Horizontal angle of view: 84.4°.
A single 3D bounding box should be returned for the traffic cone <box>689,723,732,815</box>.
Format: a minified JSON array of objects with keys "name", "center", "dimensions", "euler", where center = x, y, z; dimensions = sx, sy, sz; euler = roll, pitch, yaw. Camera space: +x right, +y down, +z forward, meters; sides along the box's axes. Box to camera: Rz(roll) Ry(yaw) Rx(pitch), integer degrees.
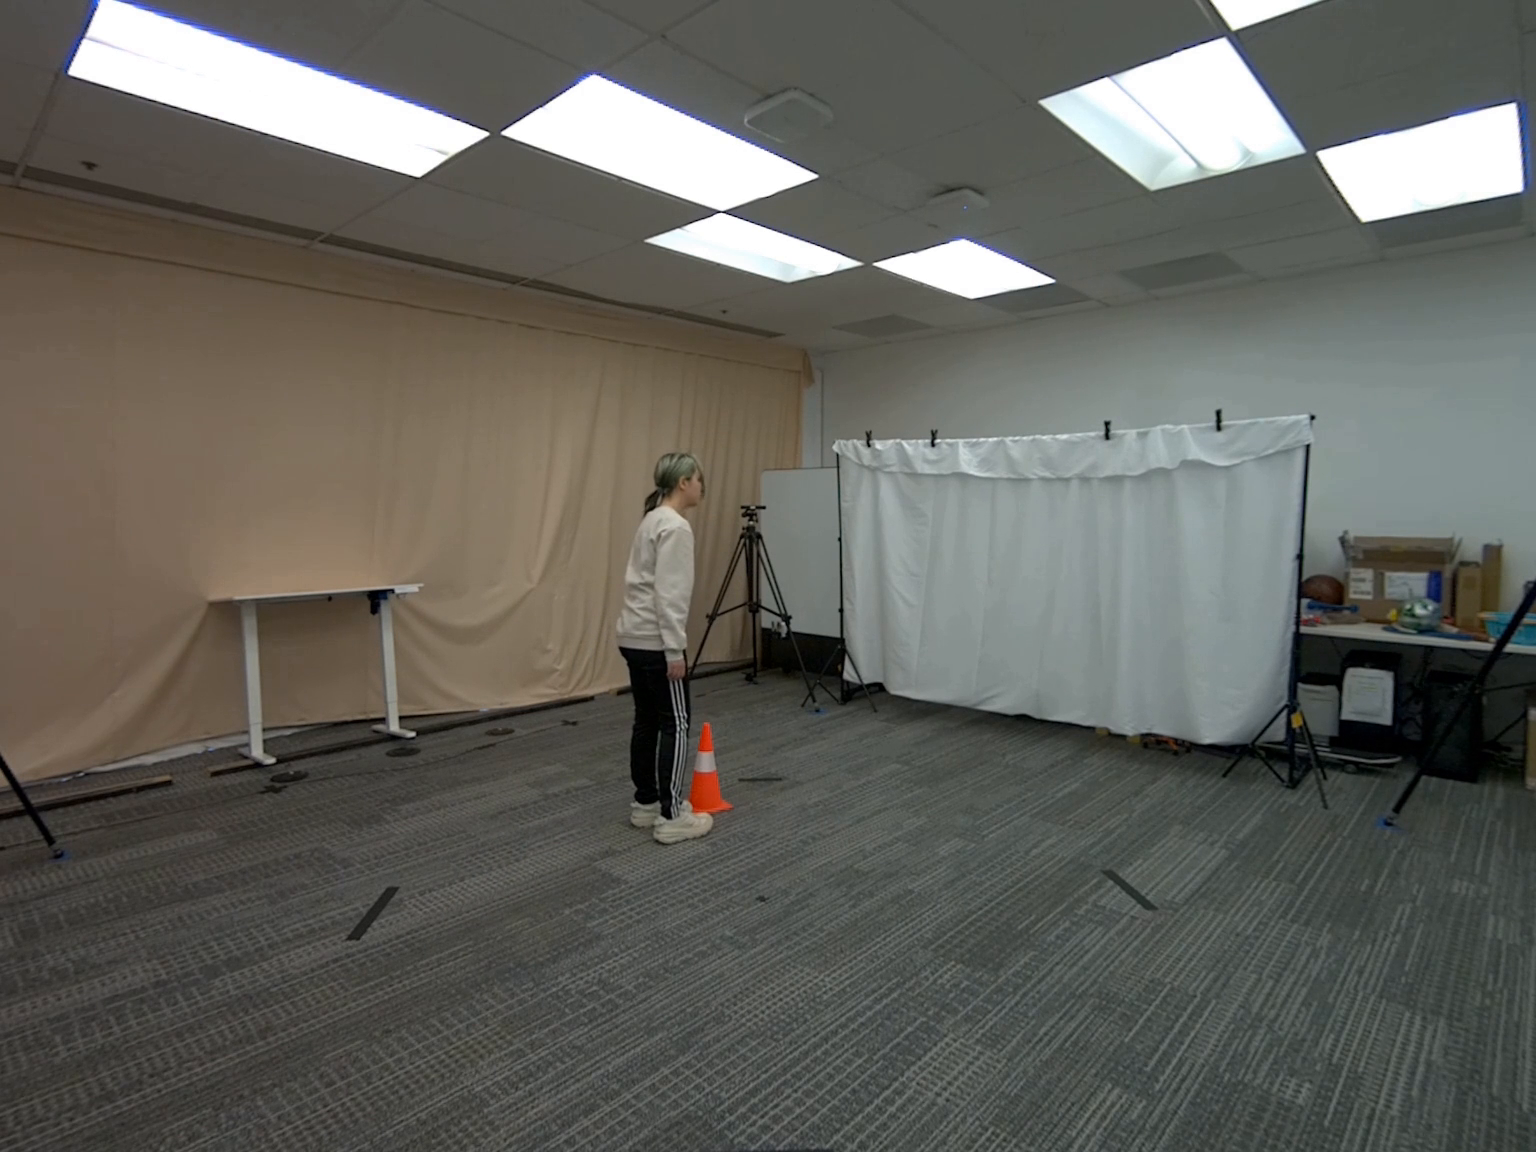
[{"name":"traffic cone","center":[-0.296,0.882,3.927],"dimensions":[0.199,0.383,0.210],"euler":[-2,4,-23]}]
